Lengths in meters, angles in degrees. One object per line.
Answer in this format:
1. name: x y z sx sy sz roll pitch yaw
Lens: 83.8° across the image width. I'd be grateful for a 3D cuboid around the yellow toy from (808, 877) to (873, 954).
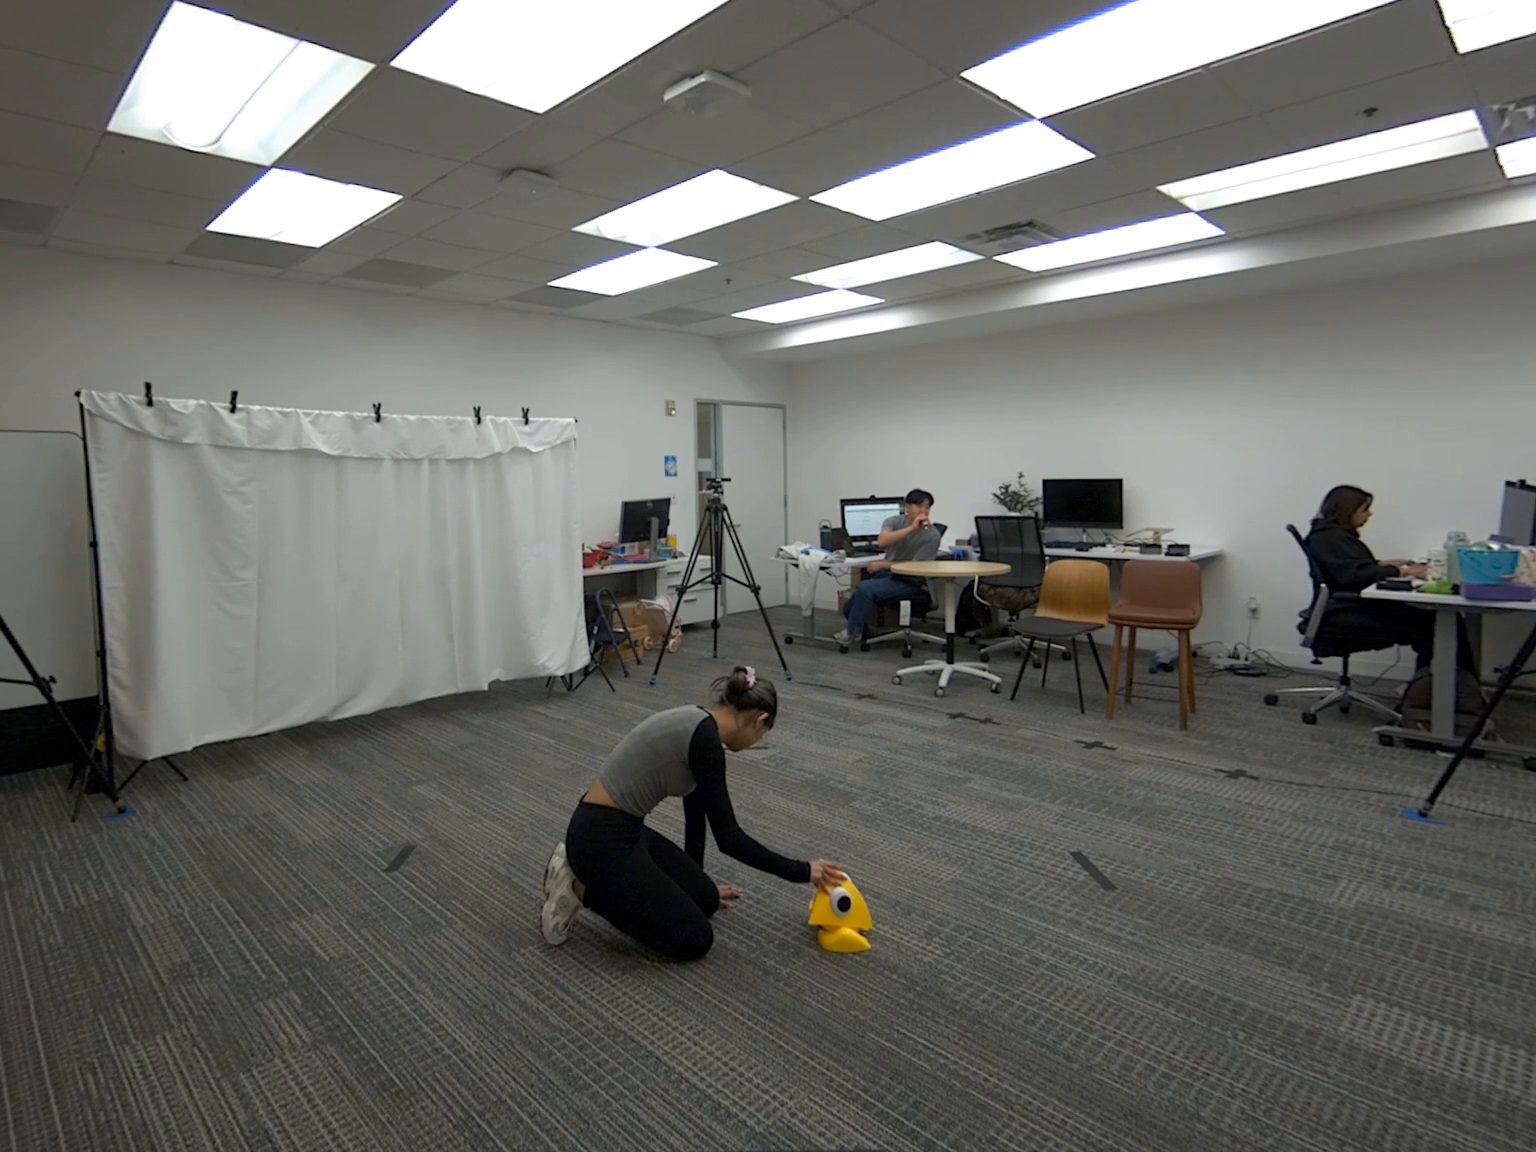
1. yellow toy: 0.224 0.978 2.606 0.195 0.230 0.204 -1 4 9
